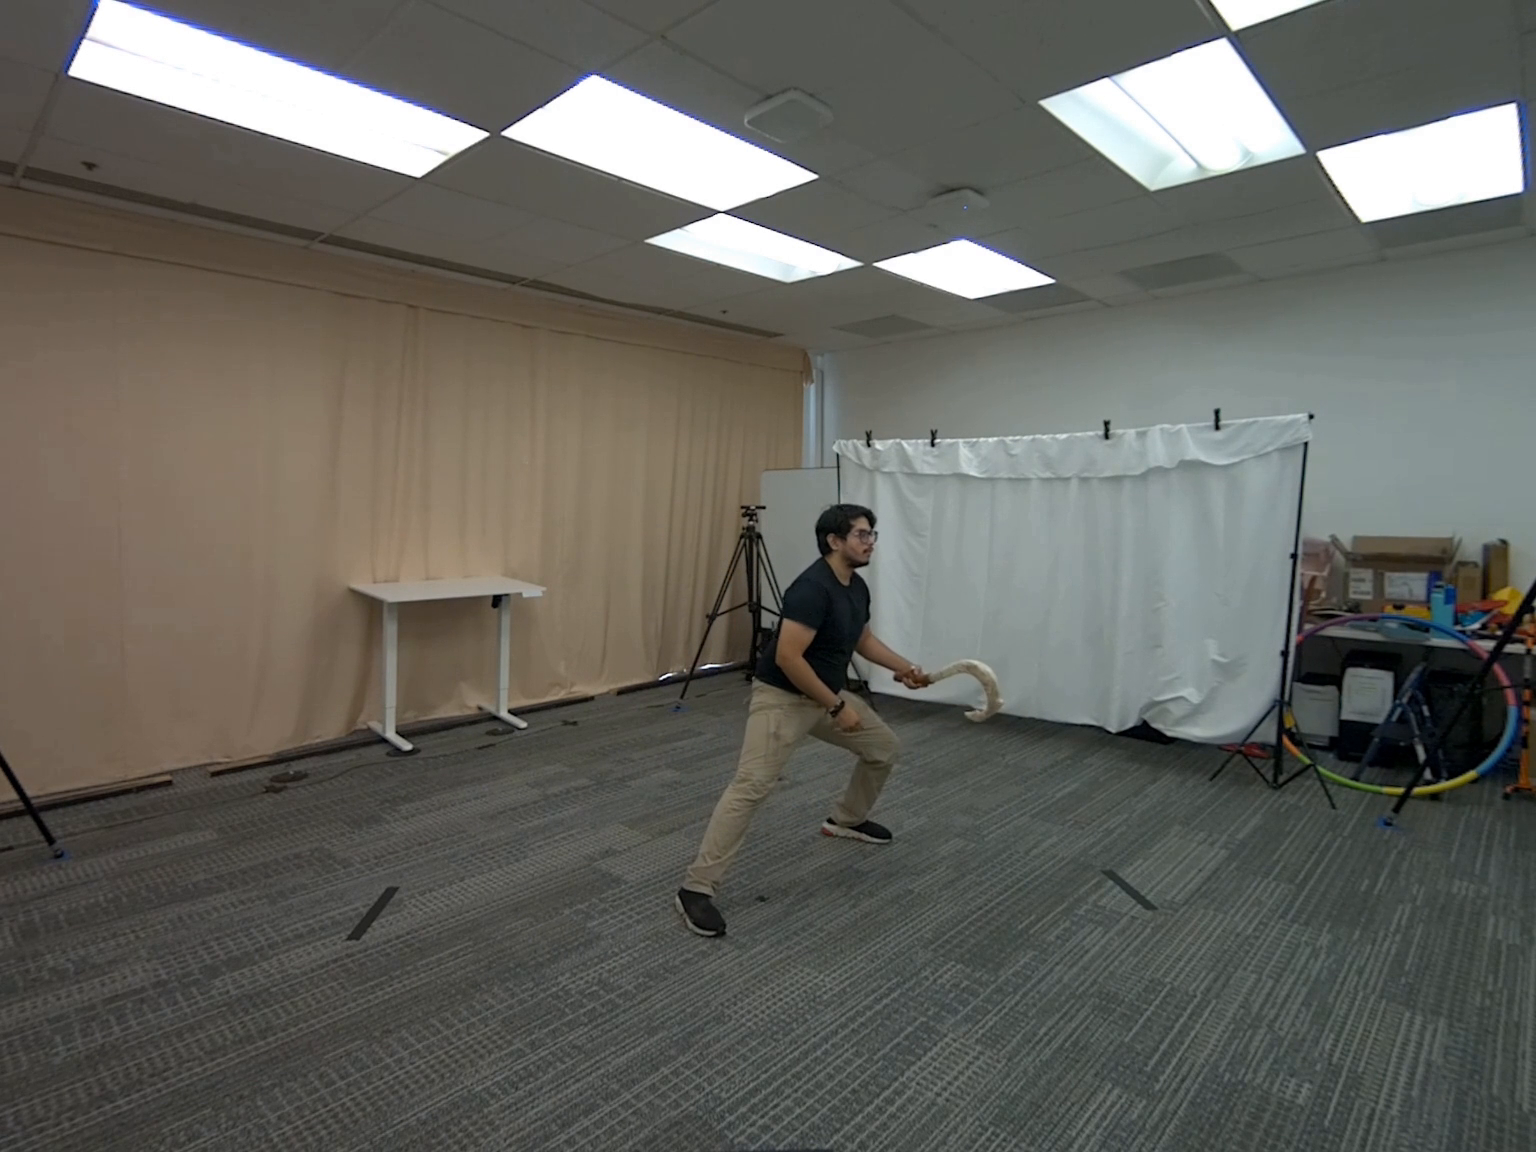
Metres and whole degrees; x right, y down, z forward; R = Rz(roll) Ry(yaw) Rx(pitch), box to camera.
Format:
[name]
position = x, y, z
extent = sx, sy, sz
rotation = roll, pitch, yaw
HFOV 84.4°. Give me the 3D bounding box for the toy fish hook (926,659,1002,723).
[toy fish hook]
position = 0.671, 0.431, 3.131
extent = 0.047, 0.225, 0.519
rotation = -9, -2, -33
